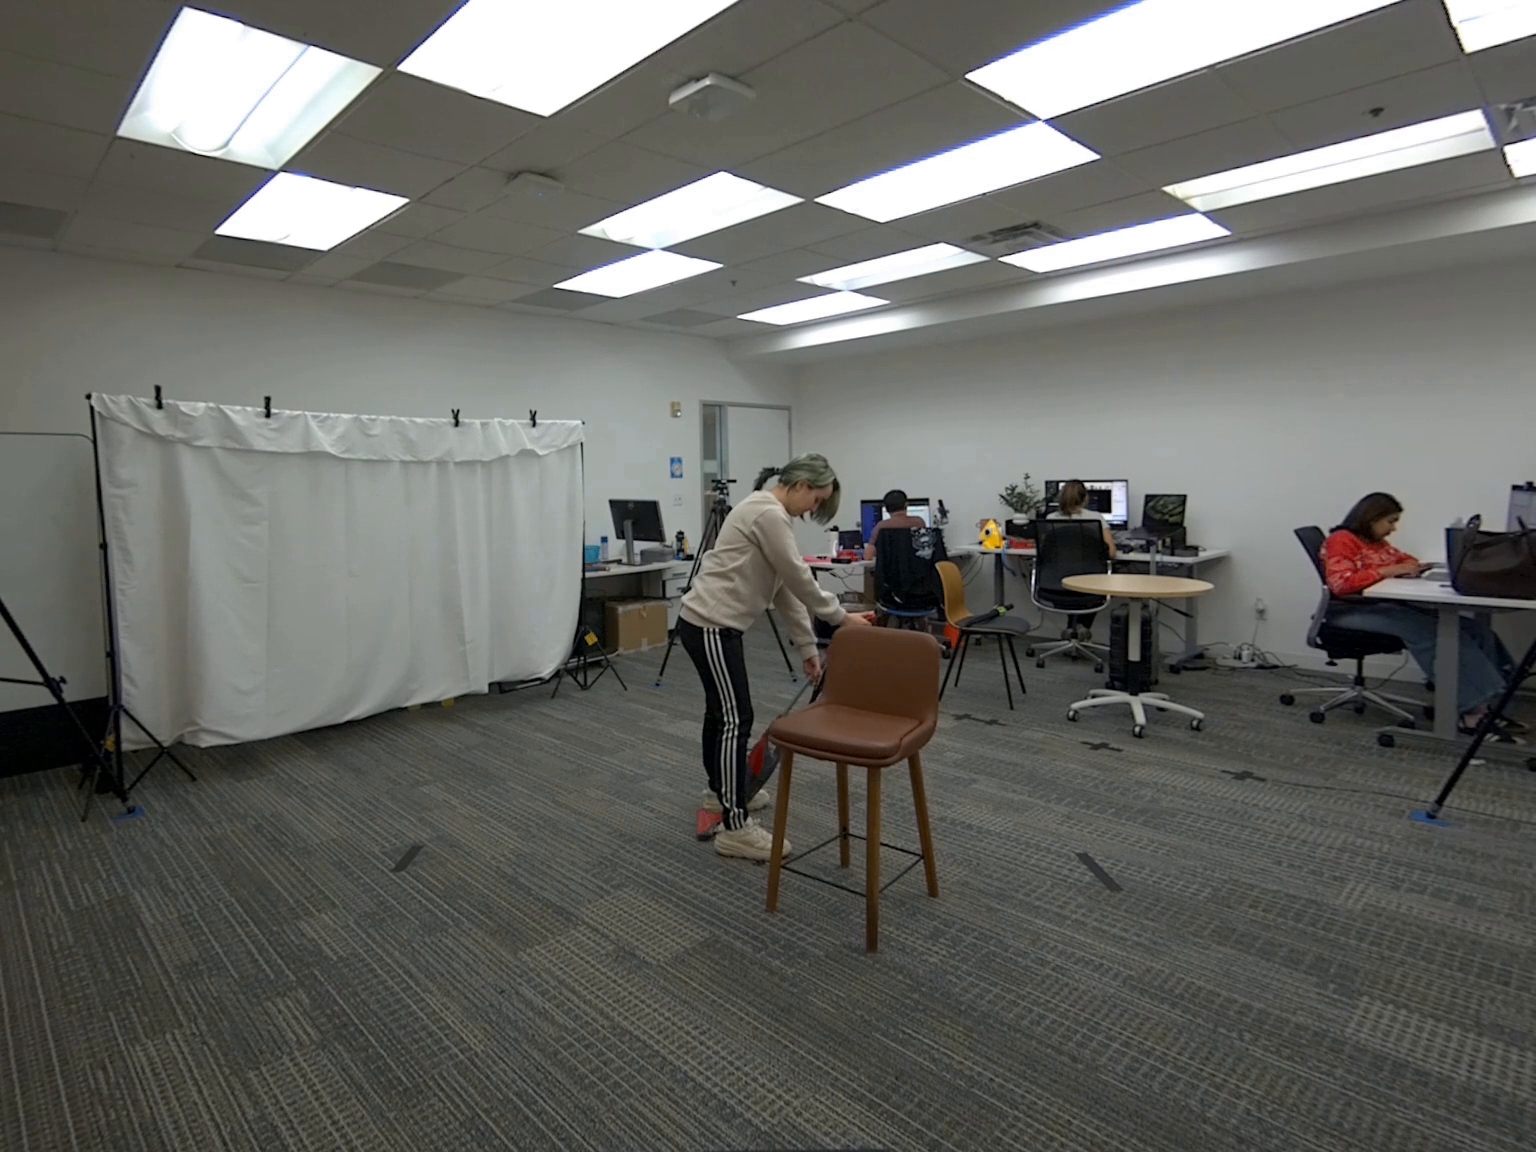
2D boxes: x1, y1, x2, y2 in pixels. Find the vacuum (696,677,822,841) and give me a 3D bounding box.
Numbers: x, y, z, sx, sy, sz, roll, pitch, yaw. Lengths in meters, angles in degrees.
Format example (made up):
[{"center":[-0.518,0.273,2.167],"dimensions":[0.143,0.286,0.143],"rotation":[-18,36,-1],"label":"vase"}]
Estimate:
[{"center":[0.108,0.584,3.407],"dimensions":[0.143,1.049,0.254],"rotation":[38,1,-6],"label":"vacuum"}]
